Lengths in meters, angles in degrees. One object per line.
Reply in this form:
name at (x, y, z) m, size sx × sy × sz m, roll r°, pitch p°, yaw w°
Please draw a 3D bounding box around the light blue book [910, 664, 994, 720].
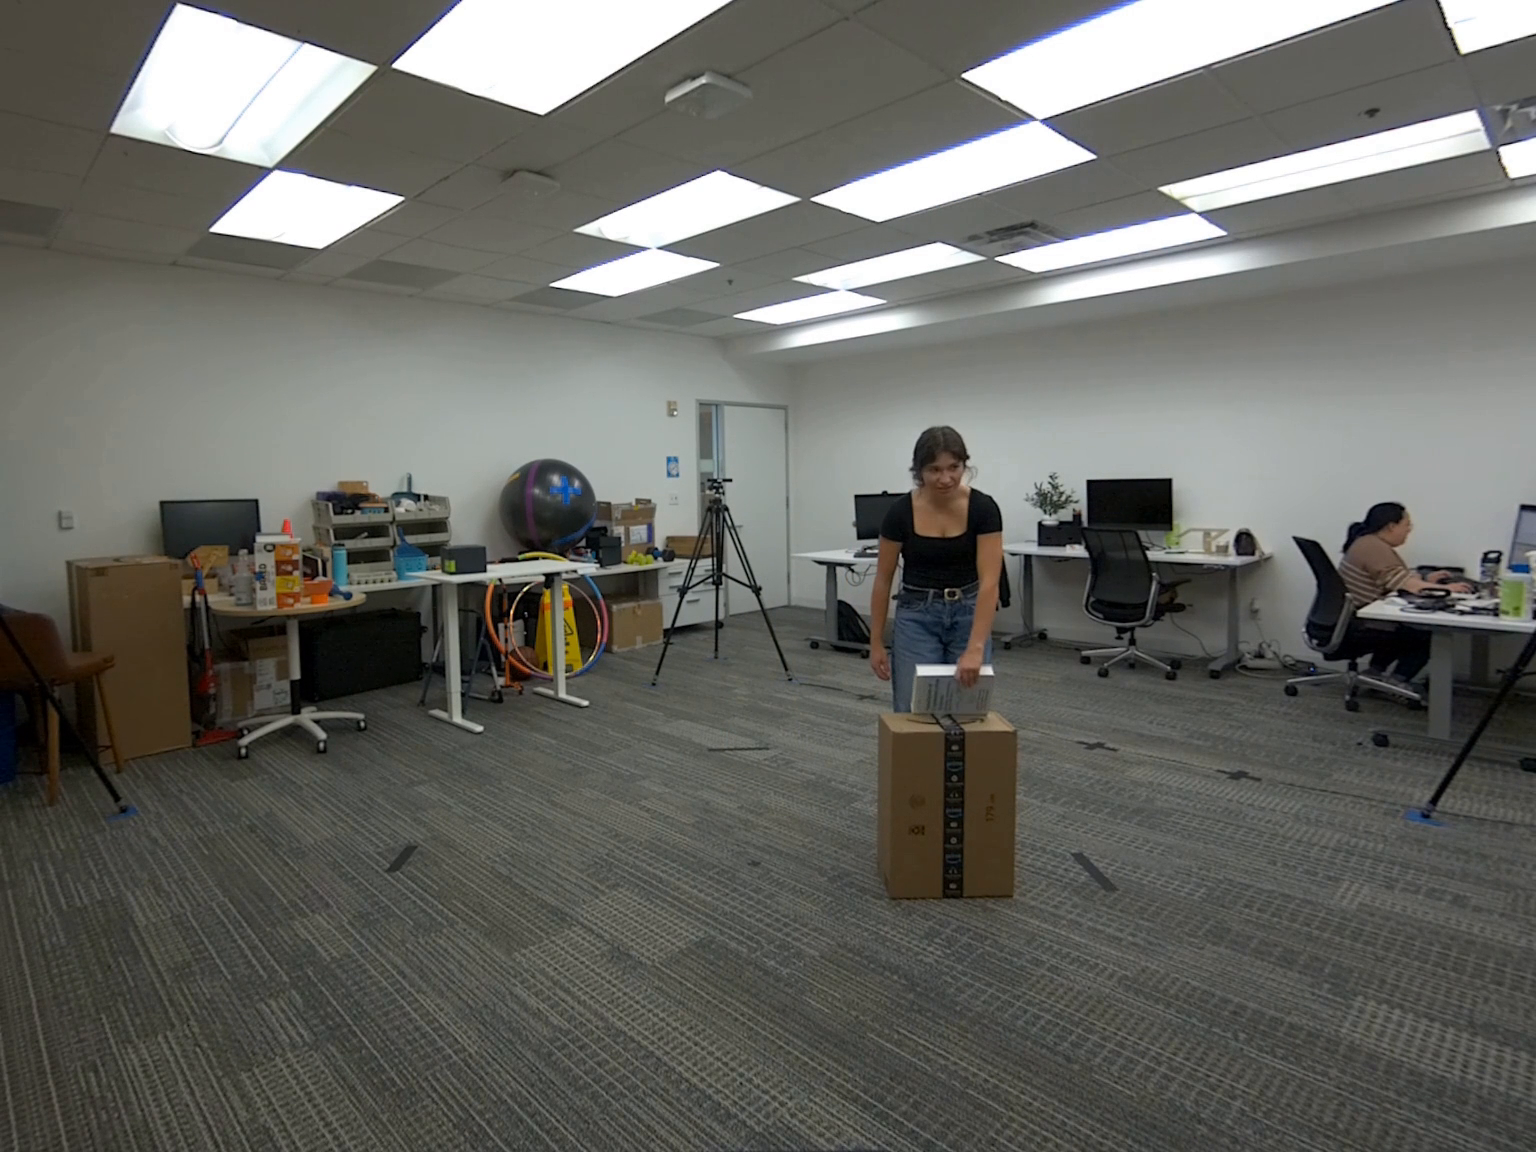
light blue book at (0.639, 0.393, 2.945) m, size 0.262 × 0.186 × 0.060 m, roll -2°, pitch 33°, yaw 4°
